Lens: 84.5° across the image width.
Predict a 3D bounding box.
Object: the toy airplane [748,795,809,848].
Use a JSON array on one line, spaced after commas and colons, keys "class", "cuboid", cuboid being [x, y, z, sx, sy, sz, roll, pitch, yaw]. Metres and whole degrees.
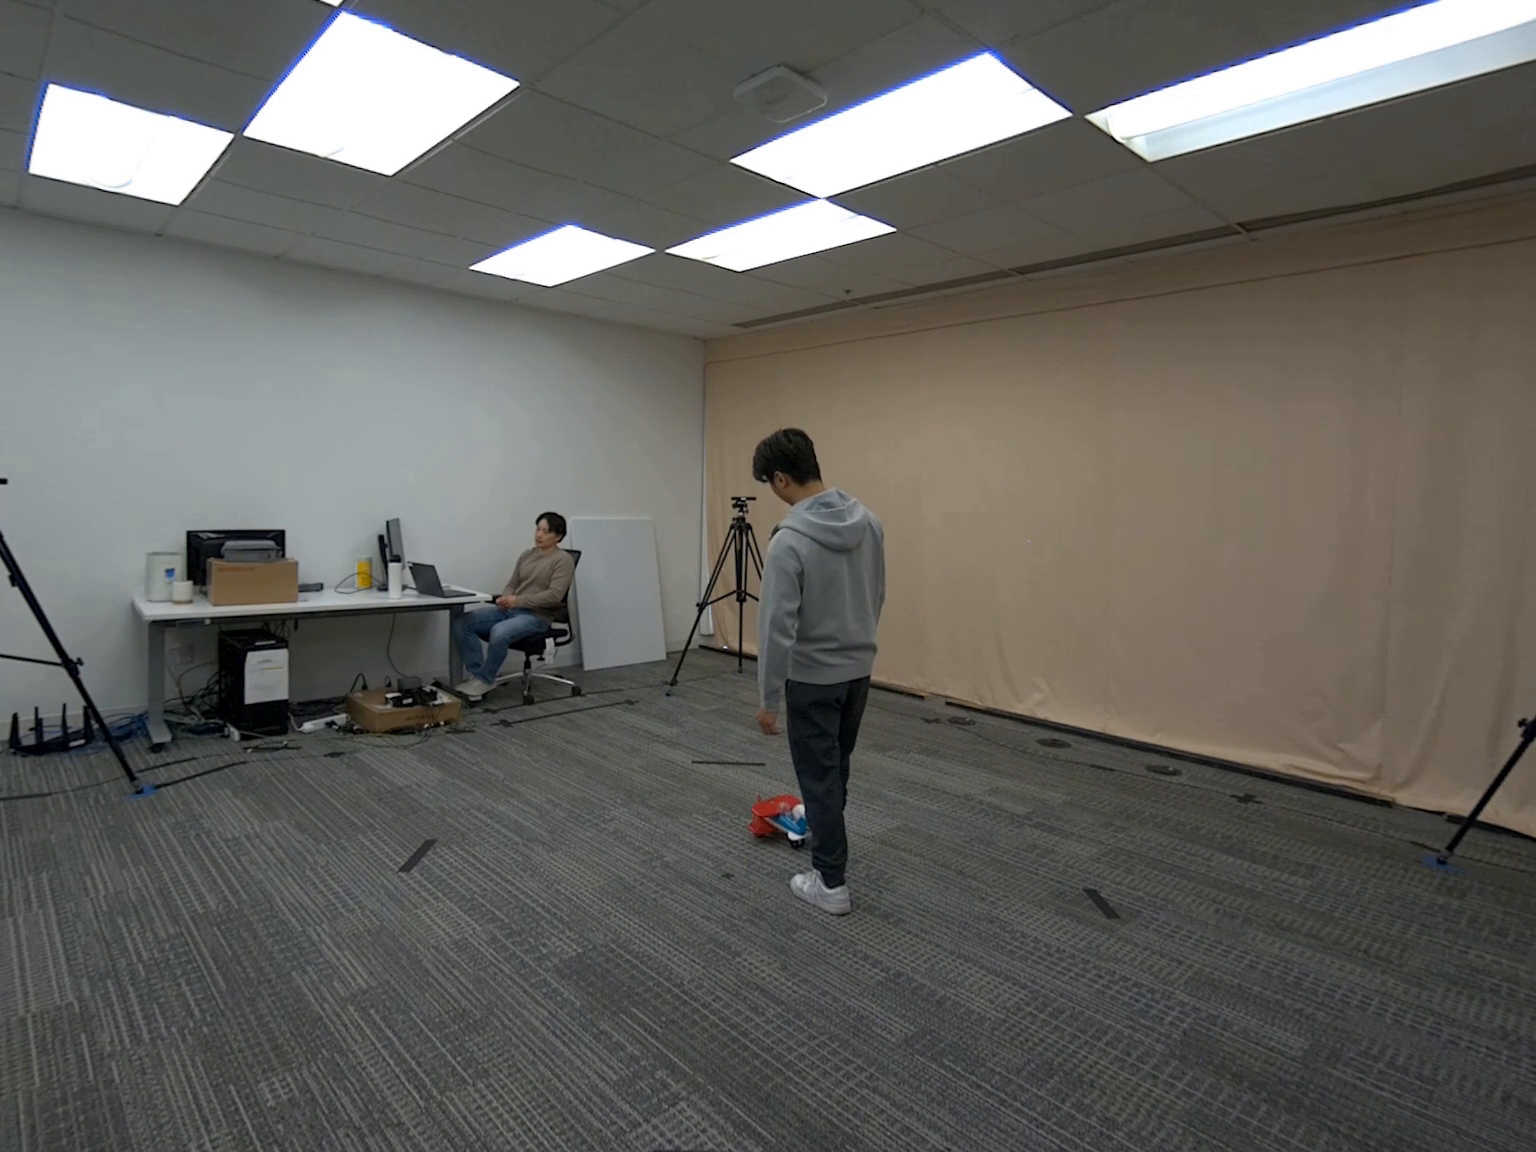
[{"class": "toy airplane", "cuboid": [0.054, 1.006, 3.458, 0.263, 0.156, 0.248, 0, 4, 17]}]
